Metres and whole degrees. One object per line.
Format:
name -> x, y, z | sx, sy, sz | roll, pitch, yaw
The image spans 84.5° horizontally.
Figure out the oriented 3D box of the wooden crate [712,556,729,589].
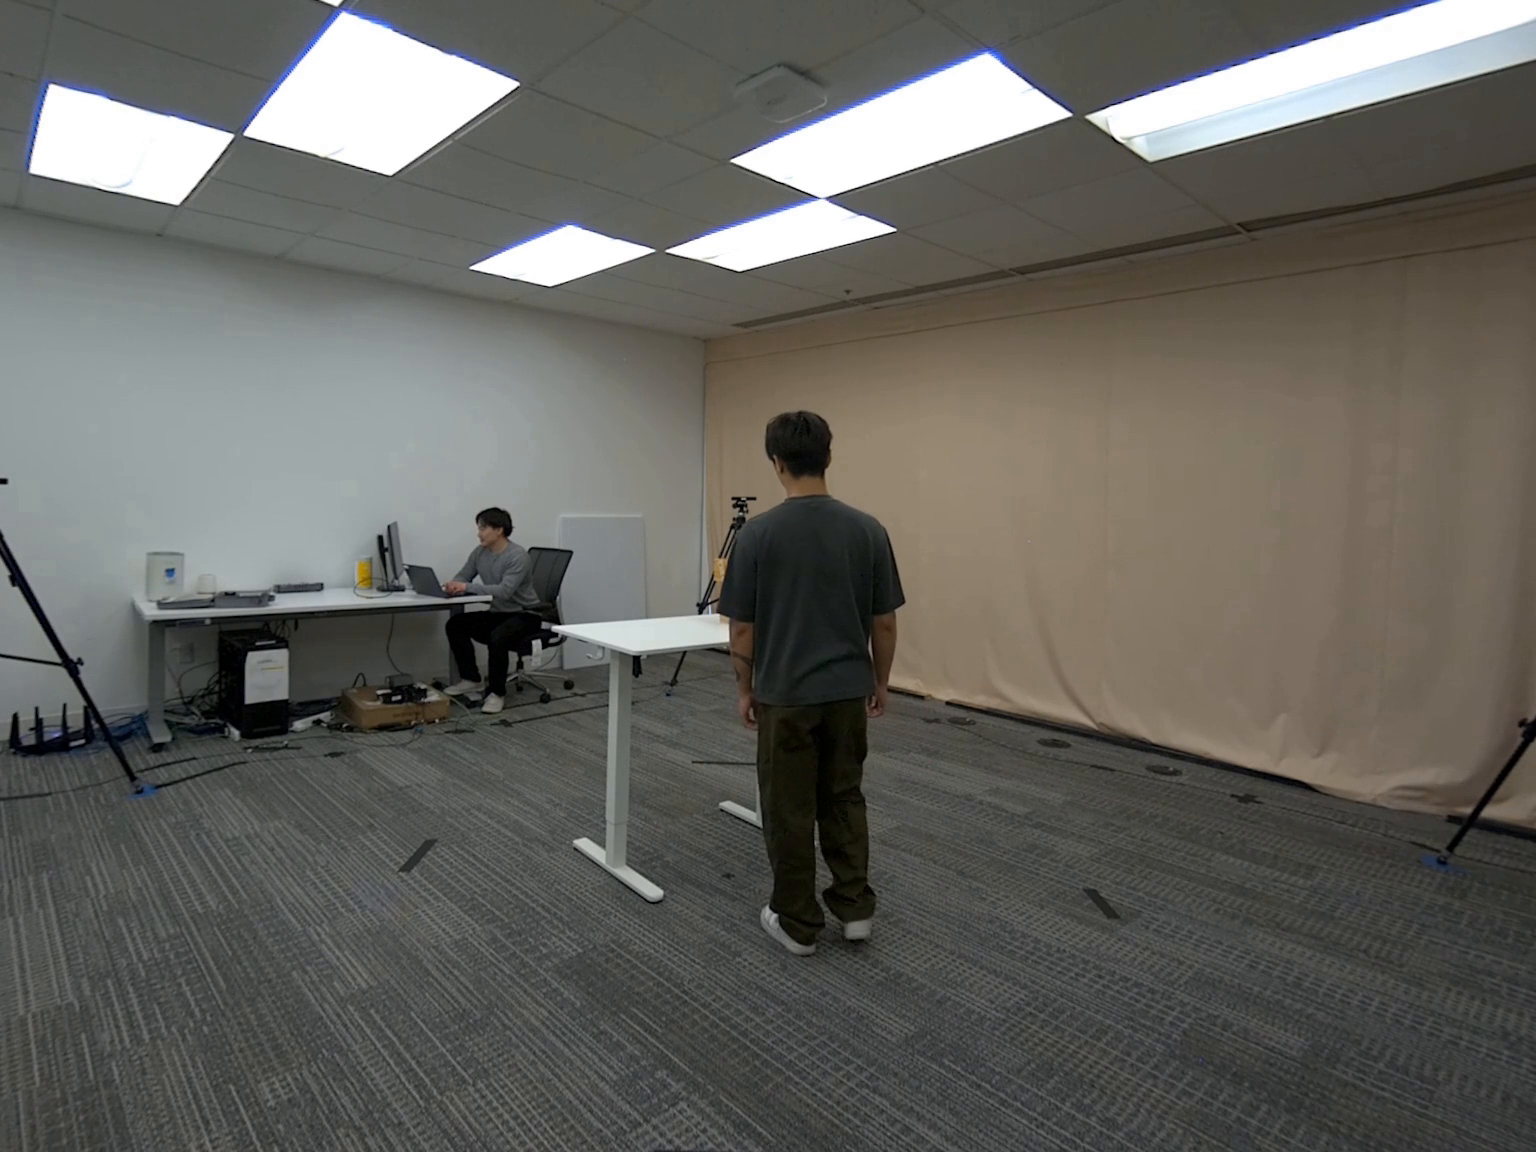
wooden crate -> -0.023, 0.067, 3.486 | 0.317, 0.273, 0.309 | -1, 5, -36
